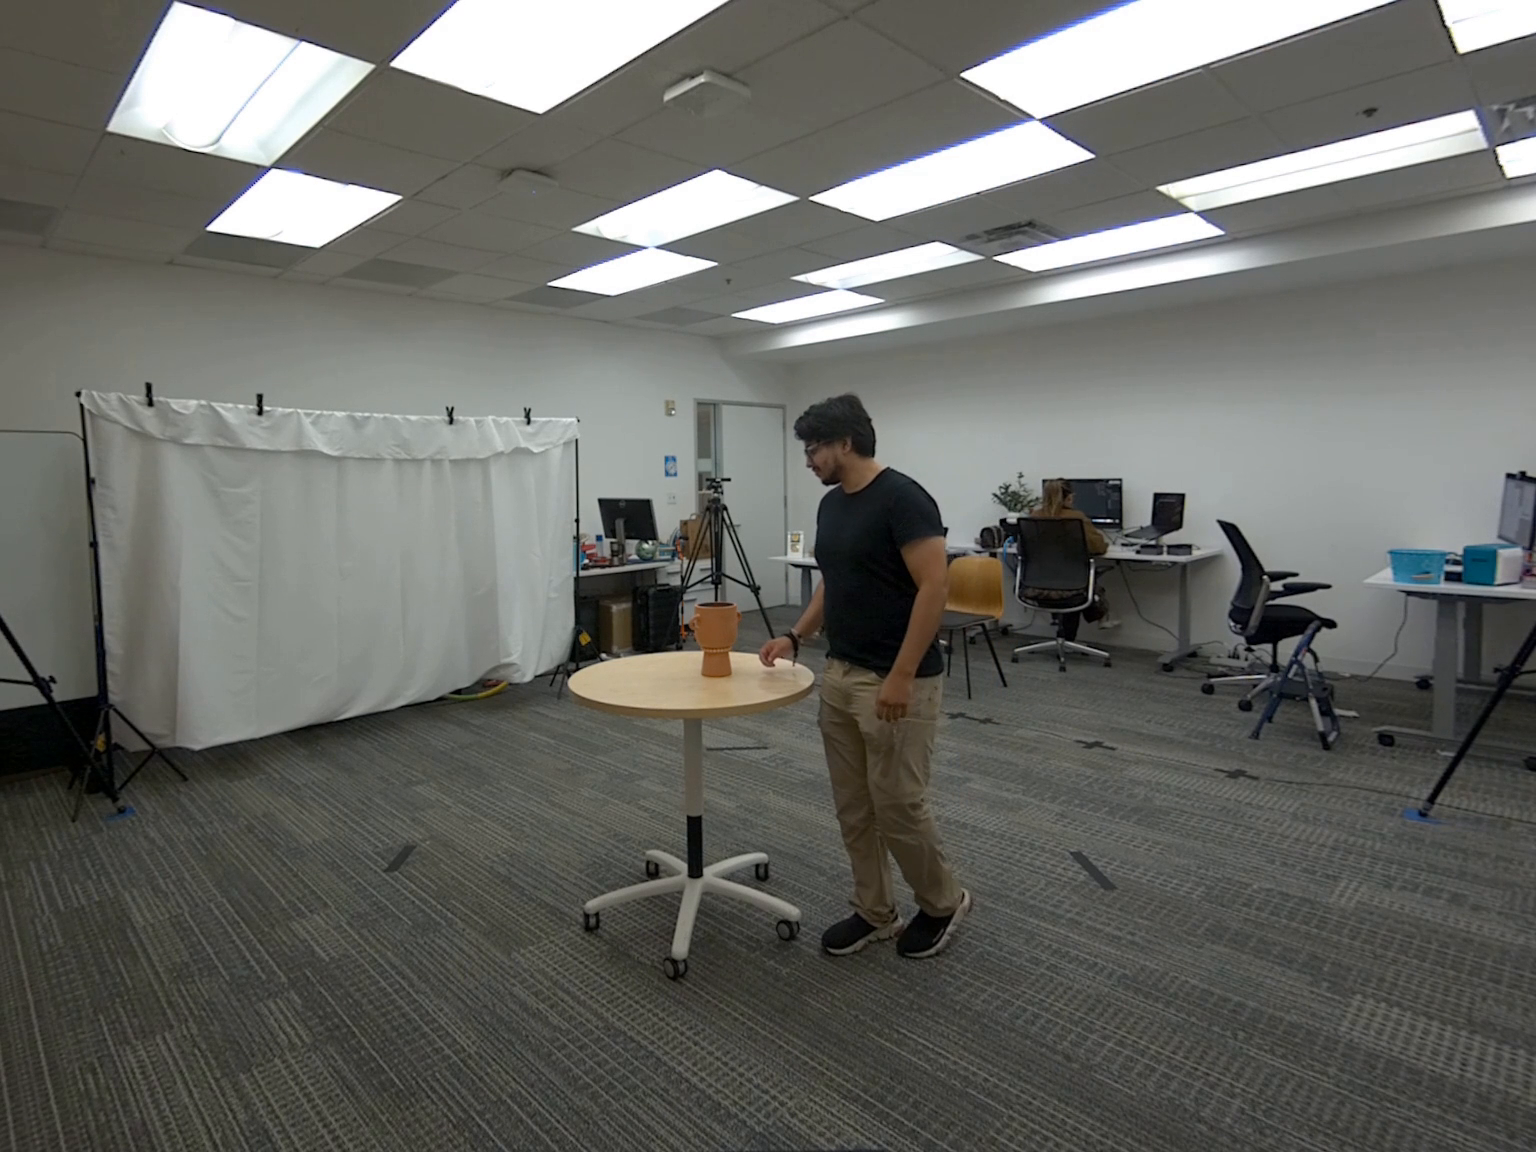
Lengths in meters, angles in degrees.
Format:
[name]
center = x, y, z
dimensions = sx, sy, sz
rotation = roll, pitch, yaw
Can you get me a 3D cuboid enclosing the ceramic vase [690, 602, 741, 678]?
[ceramic vase]
center = -0.152, 0.198, 2.691
dimensions = 0.159, 0.219, 0.135
rotation = -1, 5, 3
